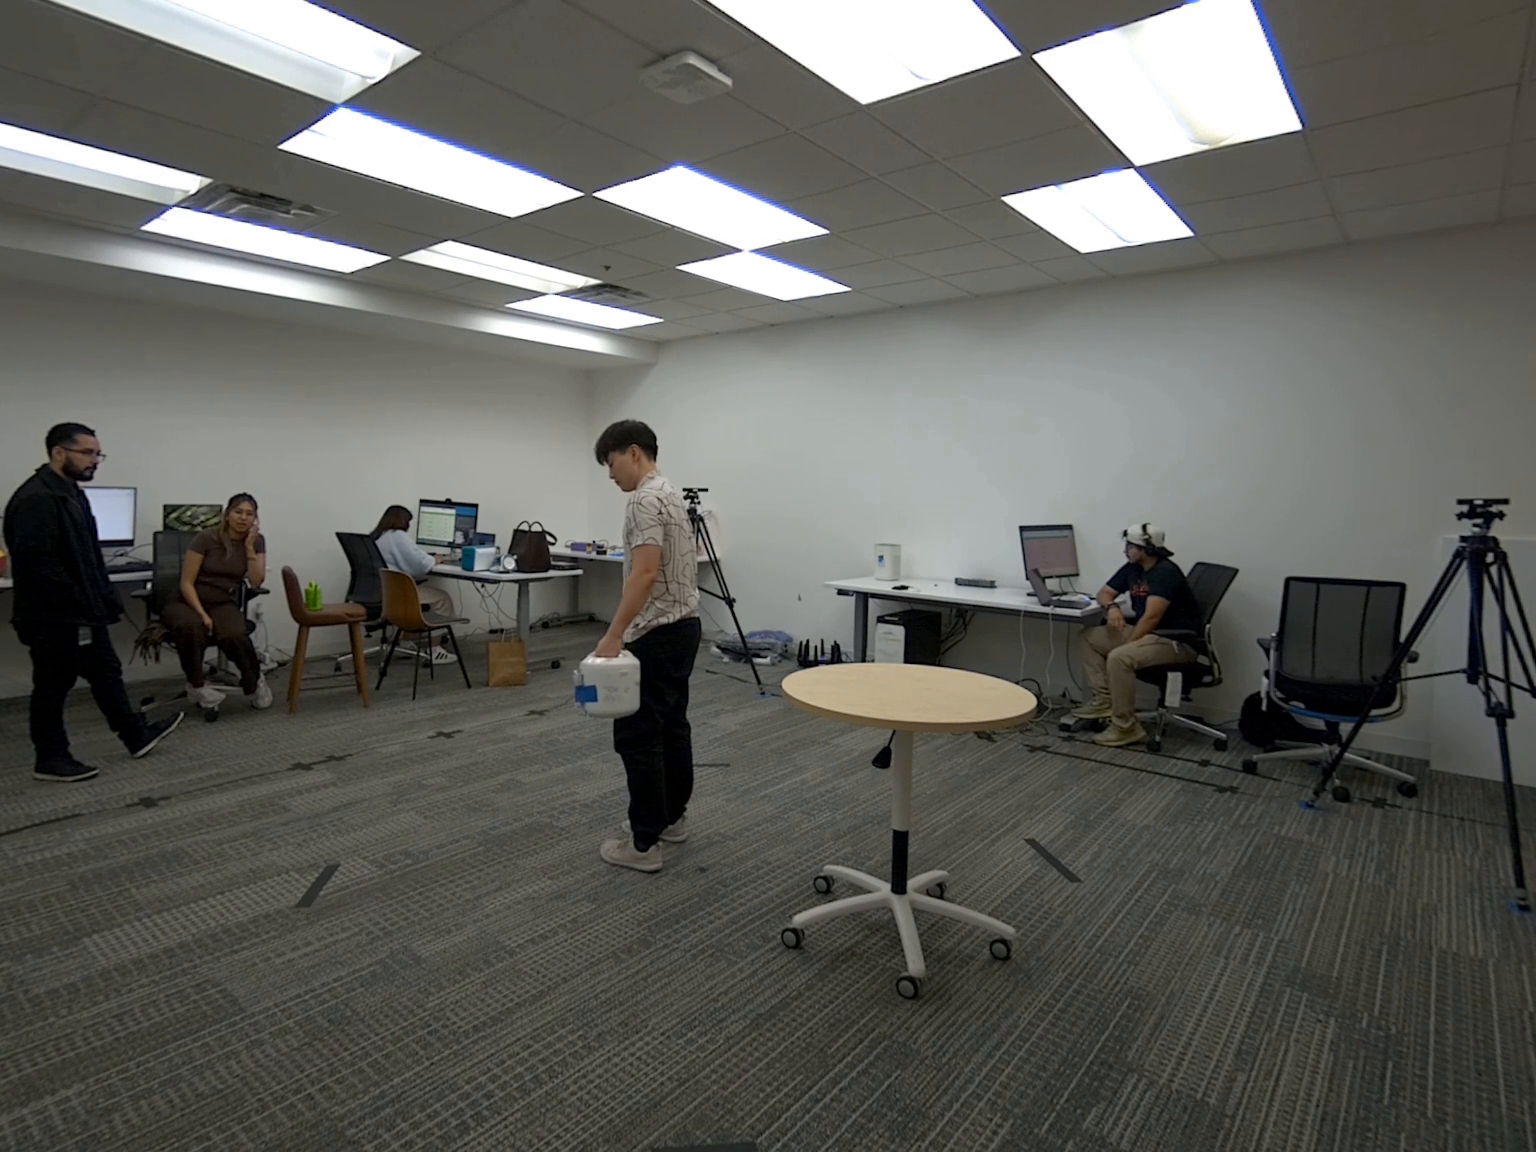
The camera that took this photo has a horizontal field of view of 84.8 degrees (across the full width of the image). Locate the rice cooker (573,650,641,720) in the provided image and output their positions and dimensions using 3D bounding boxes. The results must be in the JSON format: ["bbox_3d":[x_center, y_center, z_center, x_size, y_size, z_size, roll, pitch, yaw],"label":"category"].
[{"bbox_3d":[-0.569,0.368,3.004,0.224,0.233,0.213,0,-1,15],"label":"rice cooker"}]
